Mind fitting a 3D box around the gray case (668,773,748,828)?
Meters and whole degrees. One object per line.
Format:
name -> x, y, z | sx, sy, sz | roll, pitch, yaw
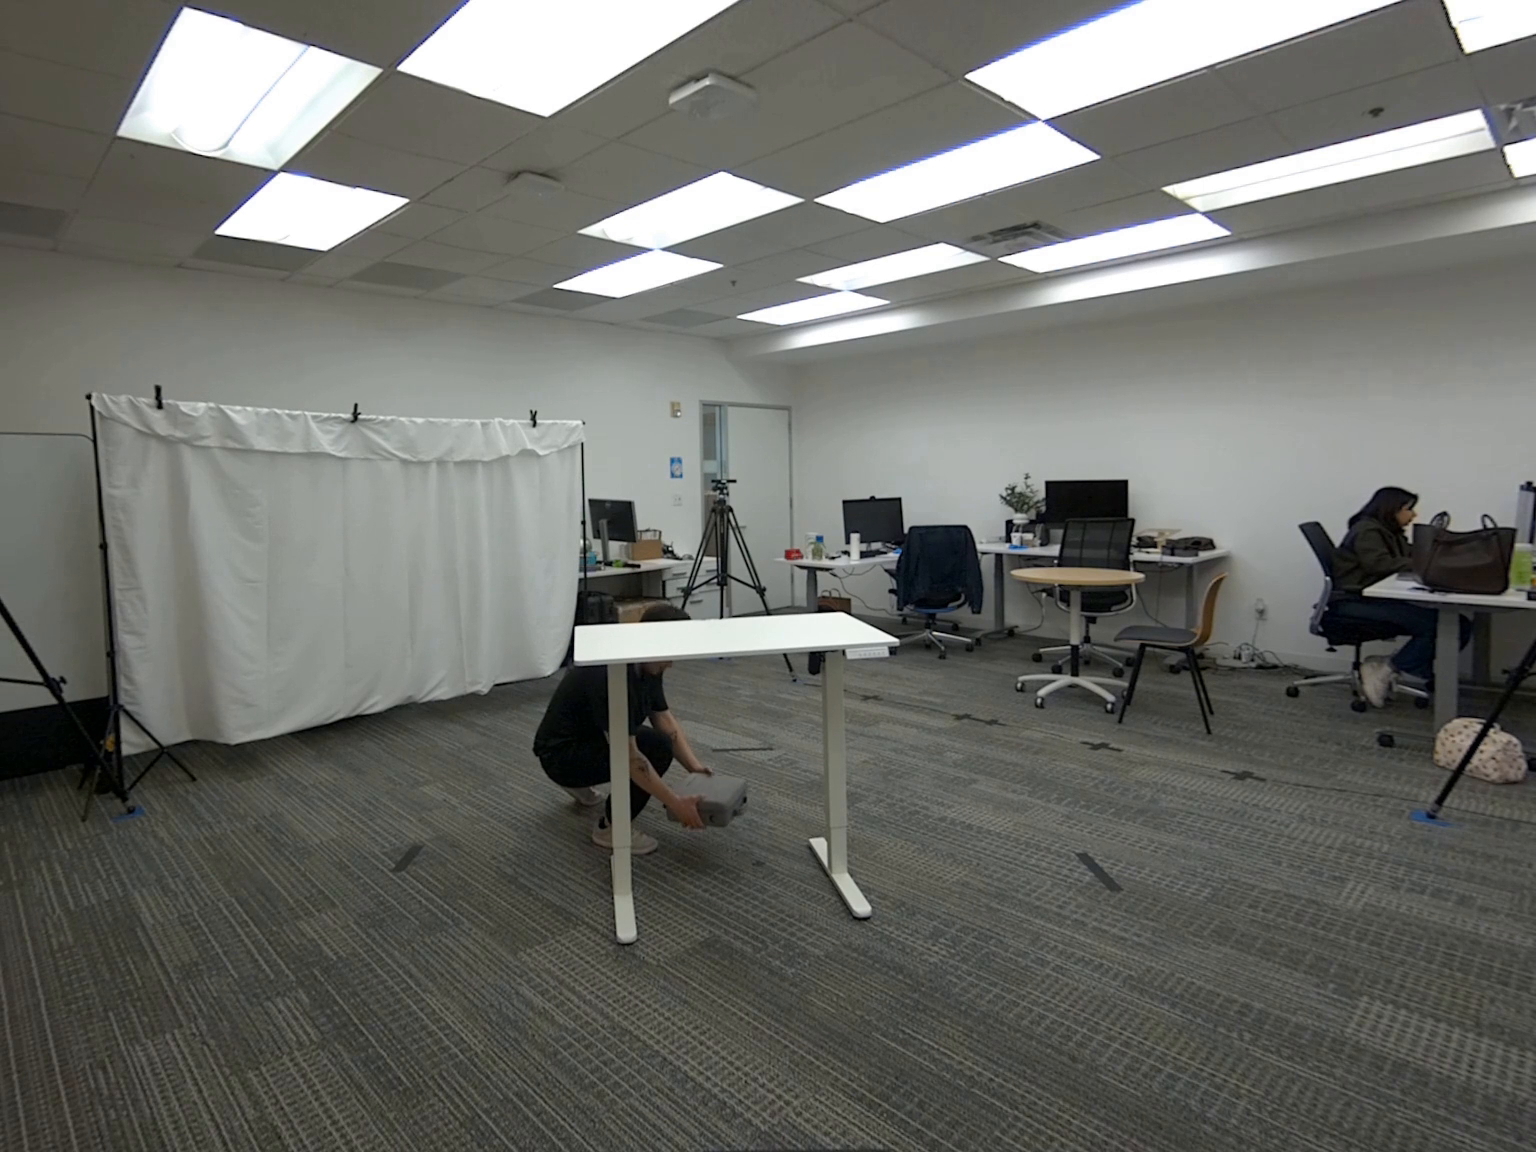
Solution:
gray case -> -0.225, 0.837, 3.221 | 0.266, 0.104, 0.253 | 0, 7, 21
